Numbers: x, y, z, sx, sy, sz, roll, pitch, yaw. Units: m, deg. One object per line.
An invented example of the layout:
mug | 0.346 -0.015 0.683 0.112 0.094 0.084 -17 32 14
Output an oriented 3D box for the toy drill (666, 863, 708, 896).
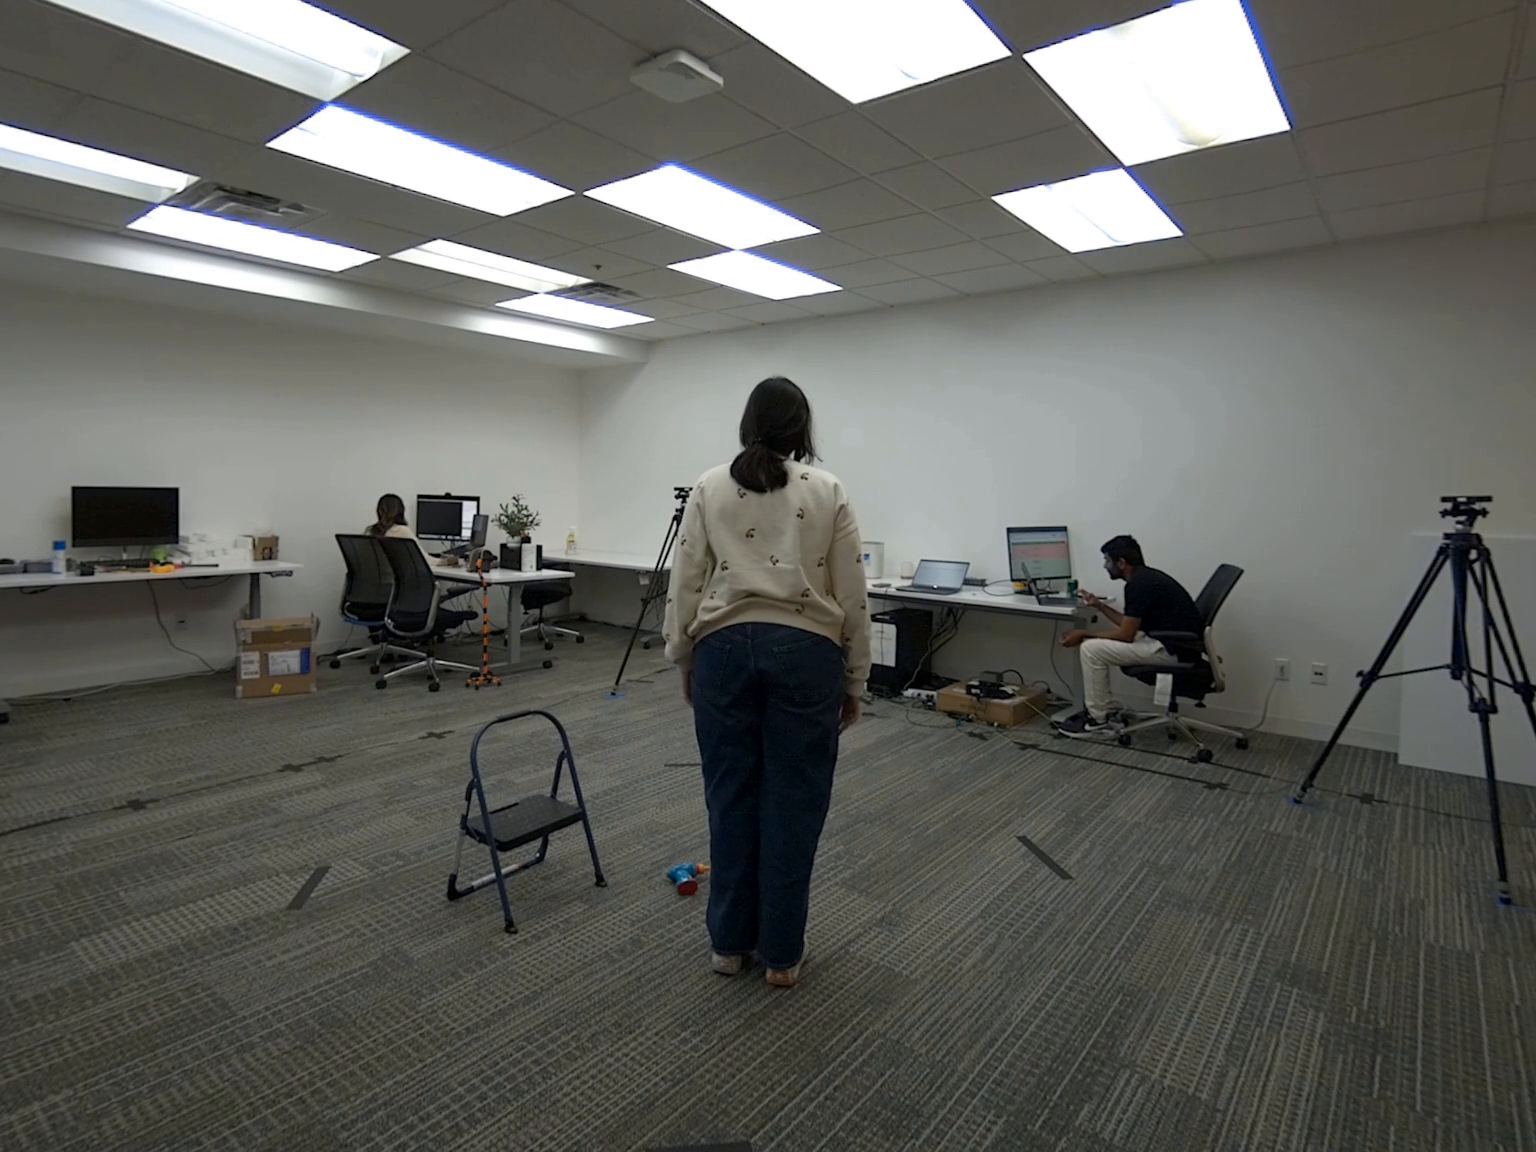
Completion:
toy drill | -0.275 1.058 2.967 0.167 0.061 0.149 -2 6 -17
